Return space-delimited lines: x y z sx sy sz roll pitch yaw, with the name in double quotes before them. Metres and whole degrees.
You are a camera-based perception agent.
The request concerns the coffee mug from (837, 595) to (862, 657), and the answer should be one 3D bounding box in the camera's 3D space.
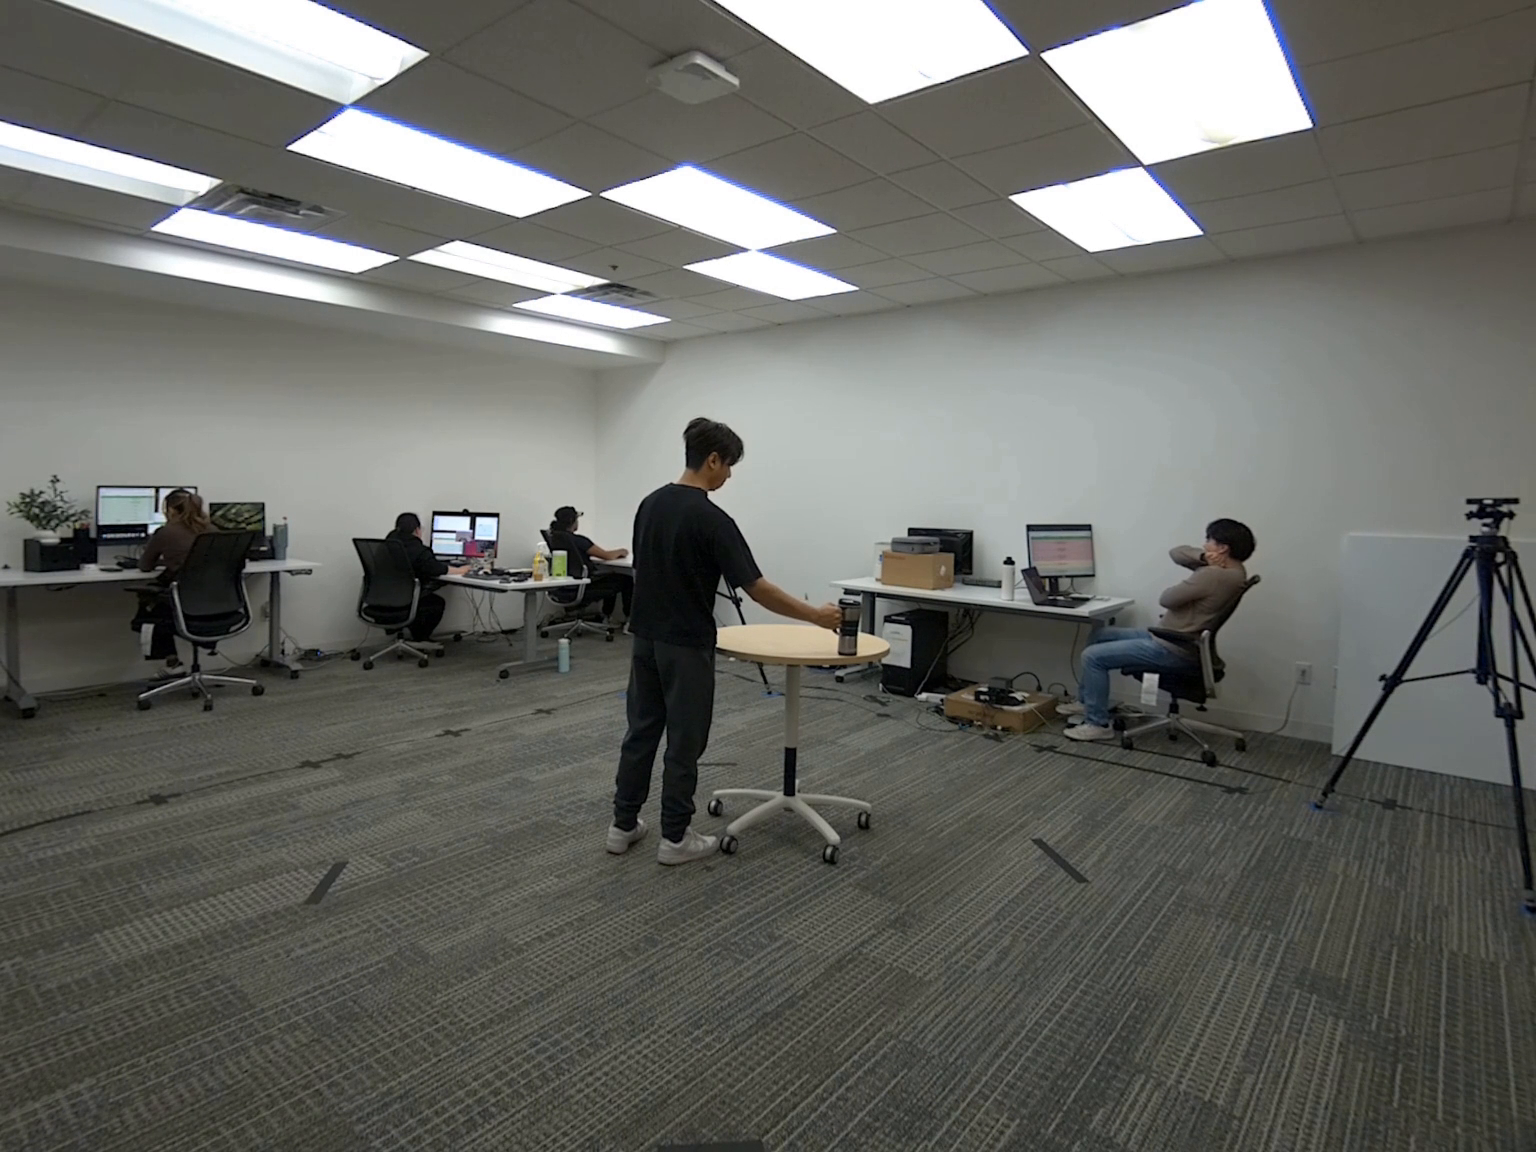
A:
"coffee mug" 0.277 0.190 3.173 0.126 0.202 0.085 8 7 35
